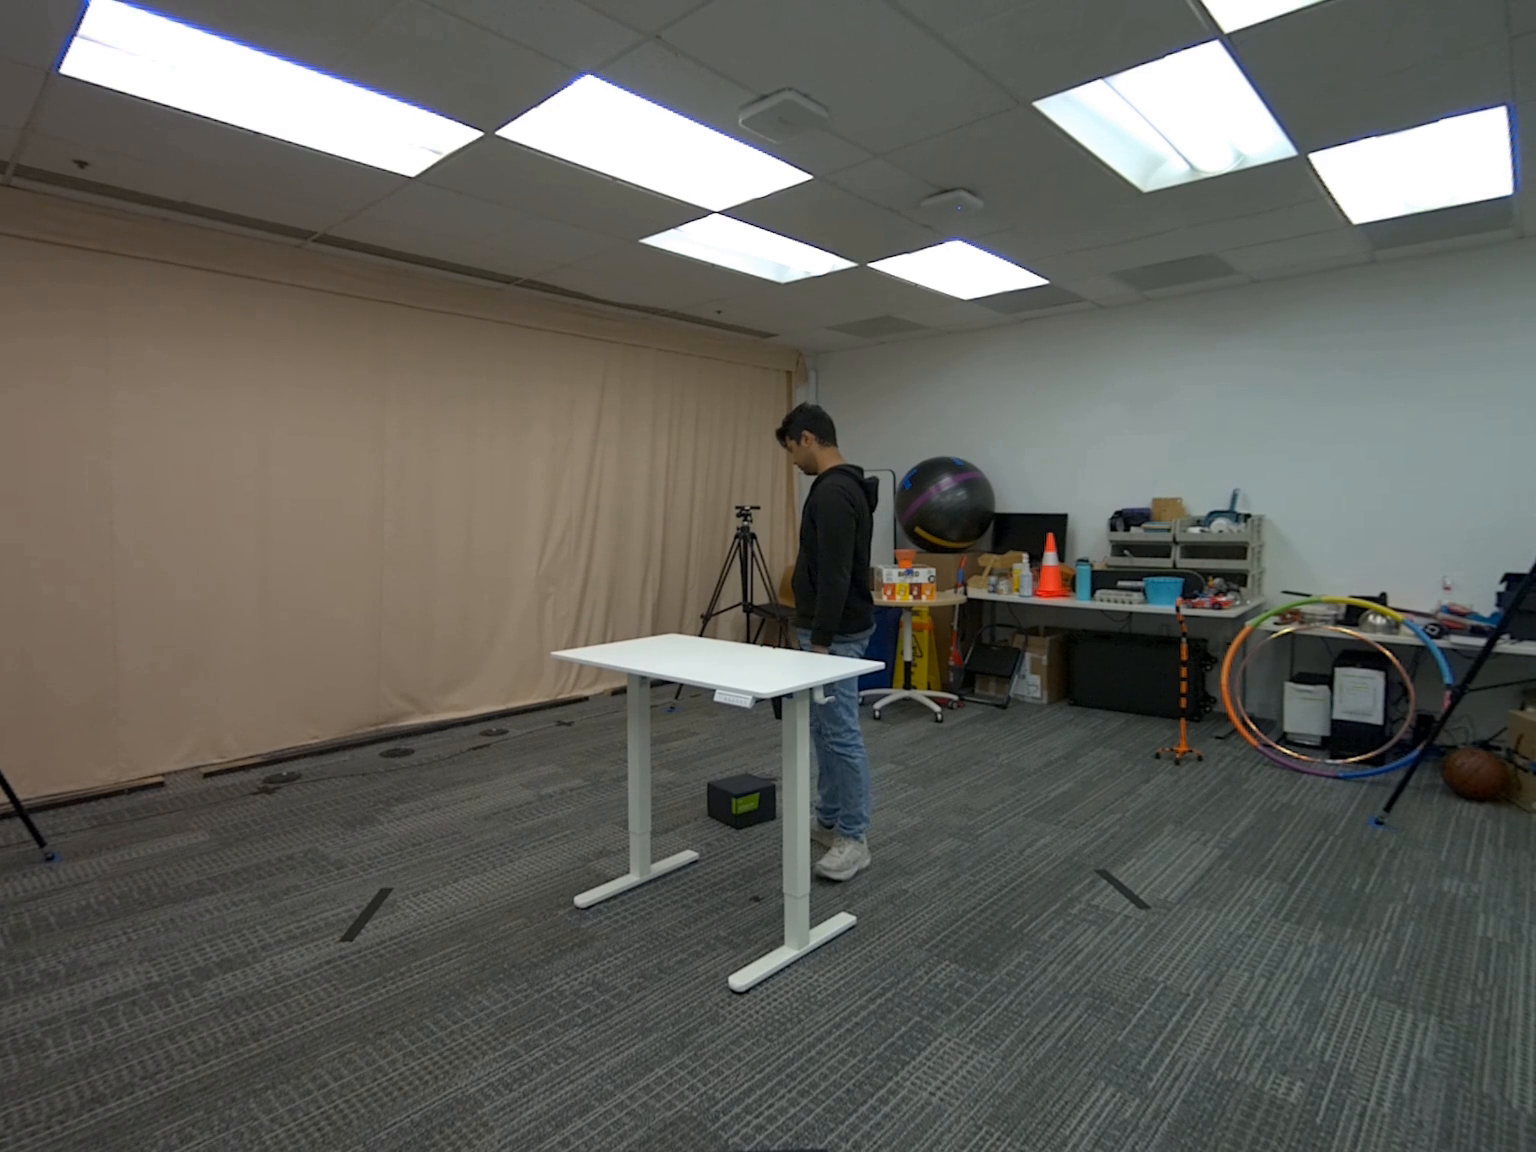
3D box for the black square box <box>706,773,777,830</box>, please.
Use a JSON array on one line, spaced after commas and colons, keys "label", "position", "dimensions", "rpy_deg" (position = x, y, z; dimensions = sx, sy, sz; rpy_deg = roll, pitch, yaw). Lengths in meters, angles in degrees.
[{"label": "black square box", "position": [-0.117, 0.997, 3.762], "dimensions": [0.221, 0.155, 0.224], "rpy_deg": [-4, 5, -39]}]
